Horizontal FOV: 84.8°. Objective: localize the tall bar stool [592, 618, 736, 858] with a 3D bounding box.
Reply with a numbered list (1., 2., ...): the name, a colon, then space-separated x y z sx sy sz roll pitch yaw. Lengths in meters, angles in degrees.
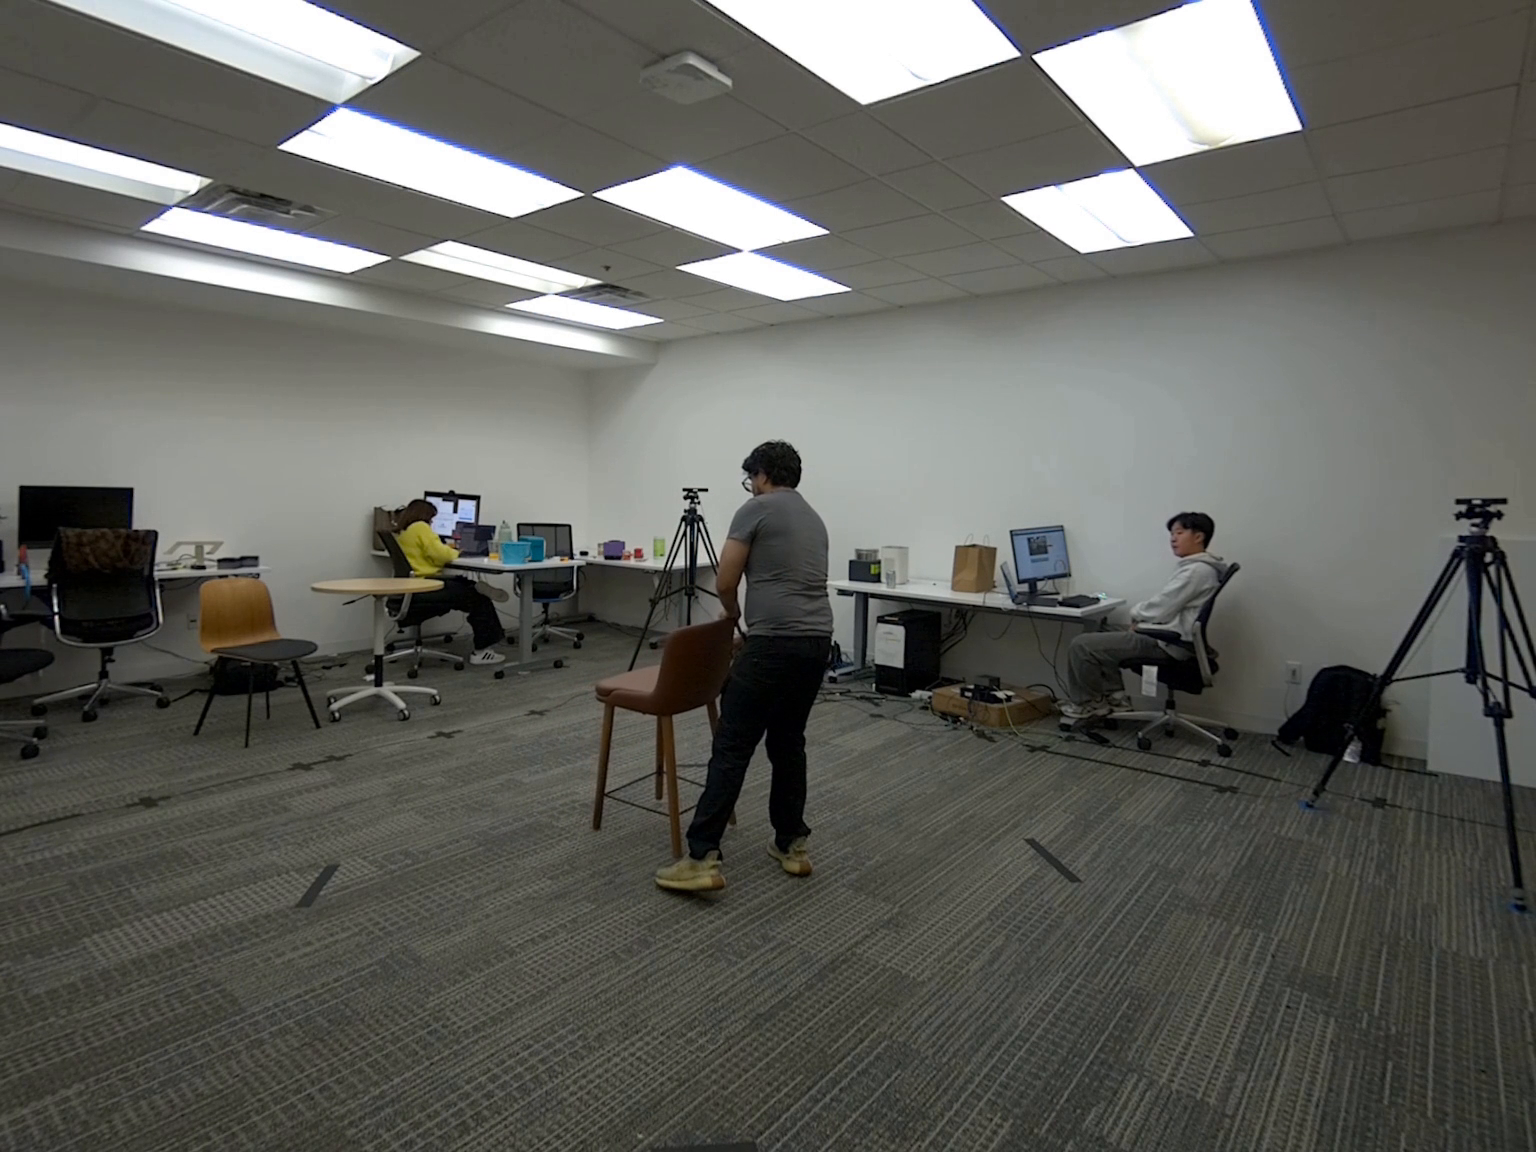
1. tall bar stool: -0.420 0.587 3.438 0.483 0.884 0.444 6 8 37
